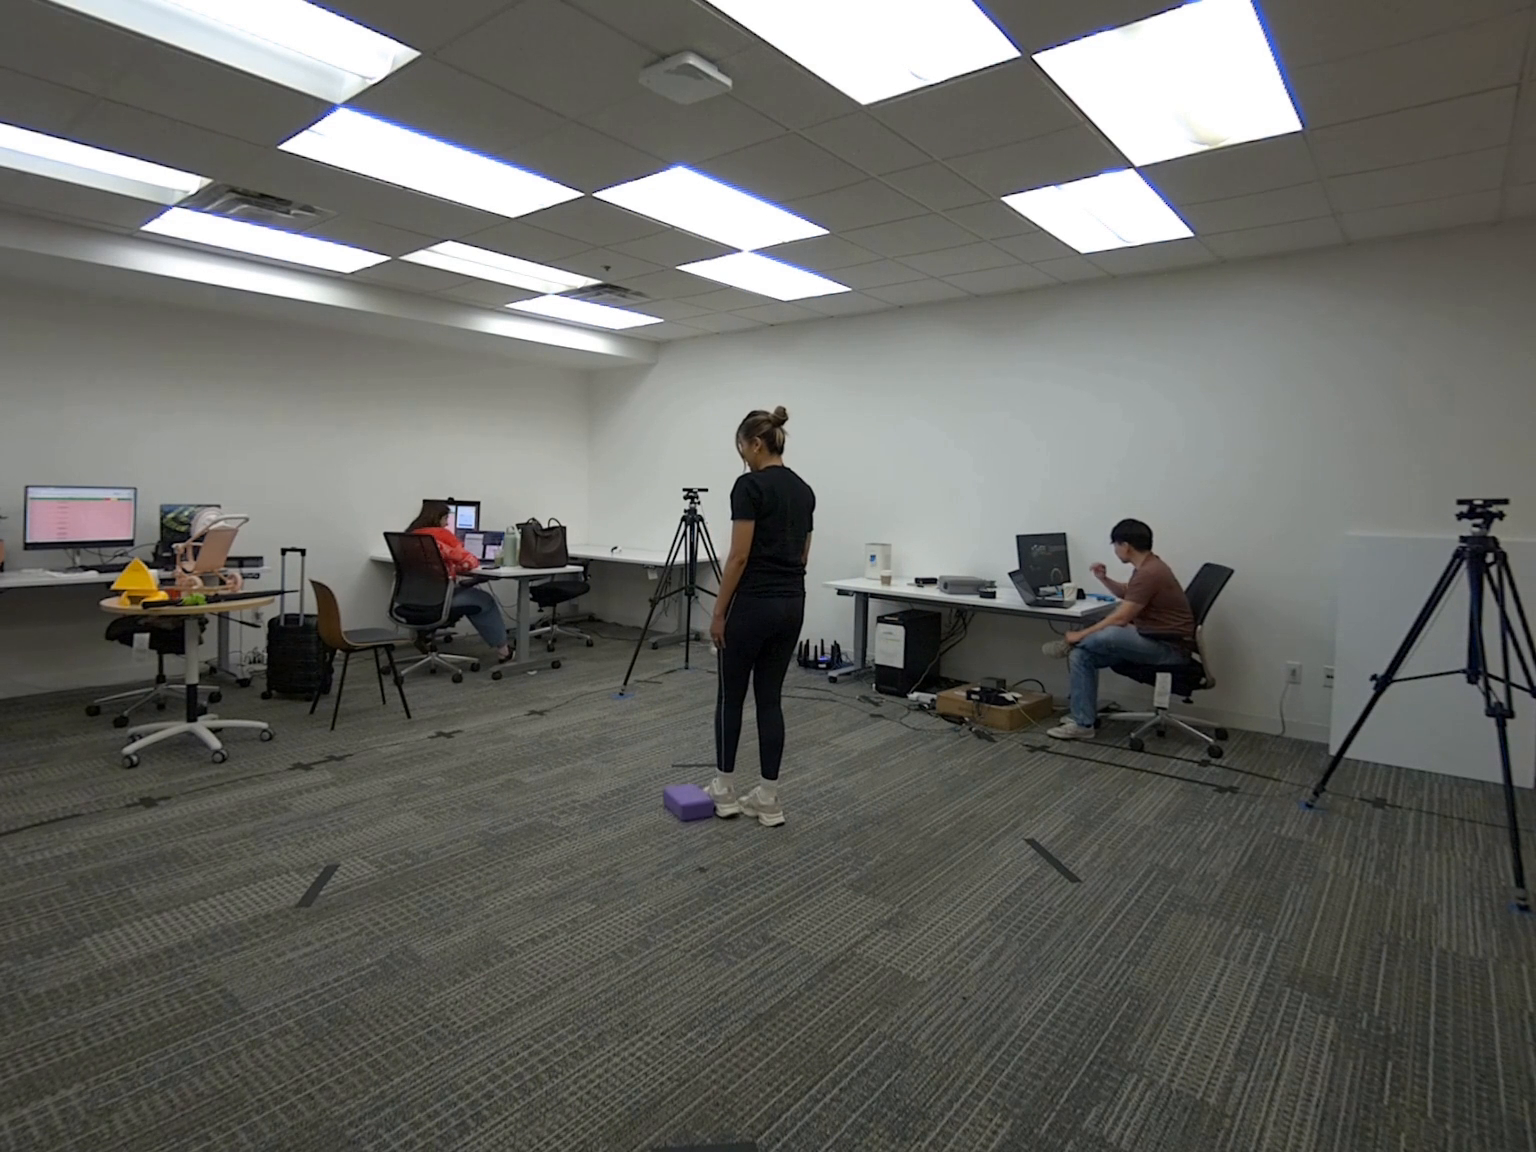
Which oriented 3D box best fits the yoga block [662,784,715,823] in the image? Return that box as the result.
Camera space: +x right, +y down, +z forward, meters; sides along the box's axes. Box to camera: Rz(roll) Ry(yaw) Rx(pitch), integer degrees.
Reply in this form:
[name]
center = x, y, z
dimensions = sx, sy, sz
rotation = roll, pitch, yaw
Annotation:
[yoga block]
center = -0.367, 0.973, 3.668
dimensions = 0.145, 0.076, 0.236
rotation = -4, 7, -26
